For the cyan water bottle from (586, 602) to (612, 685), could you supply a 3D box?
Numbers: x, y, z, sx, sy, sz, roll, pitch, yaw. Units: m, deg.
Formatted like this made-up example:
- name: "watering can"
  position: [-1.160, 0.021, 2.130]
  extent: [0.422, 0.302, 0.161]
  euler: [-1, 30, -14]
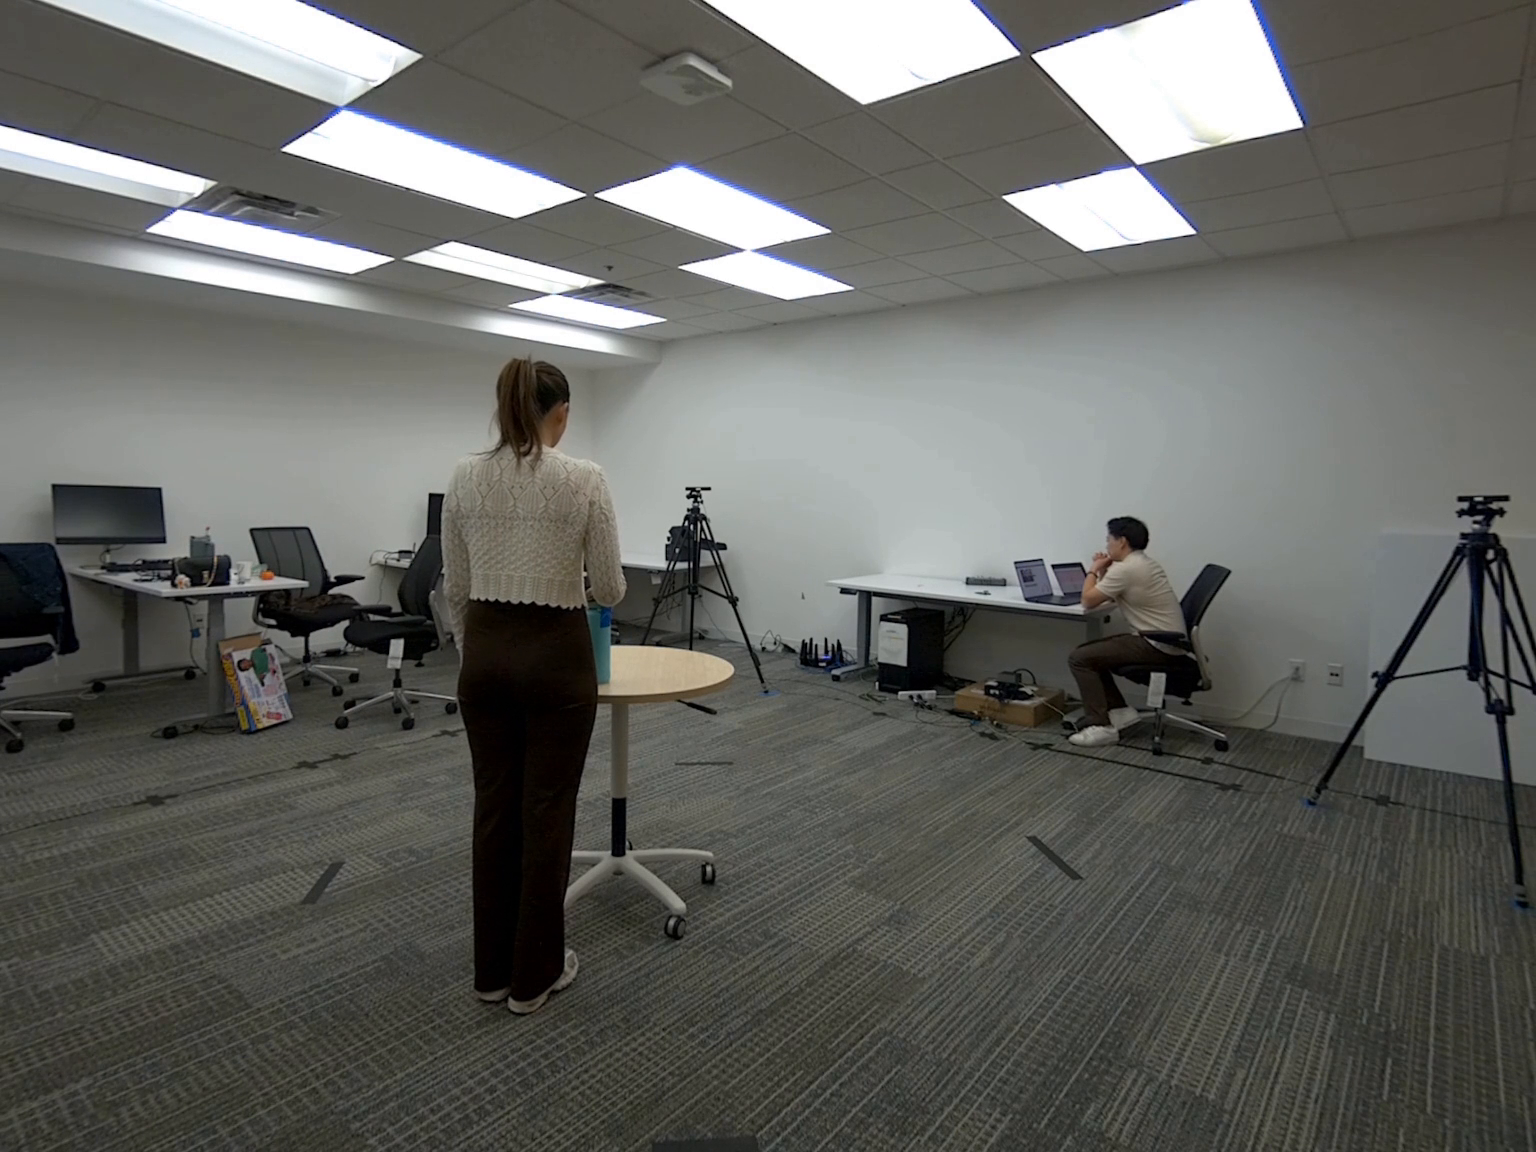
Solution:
- name: "cyan water bottle"
  position: [-0.548, 0.191, 2.623]
  extent: [0.092, 0.281, 0.093]
  euler: [-1, 7, -2]
